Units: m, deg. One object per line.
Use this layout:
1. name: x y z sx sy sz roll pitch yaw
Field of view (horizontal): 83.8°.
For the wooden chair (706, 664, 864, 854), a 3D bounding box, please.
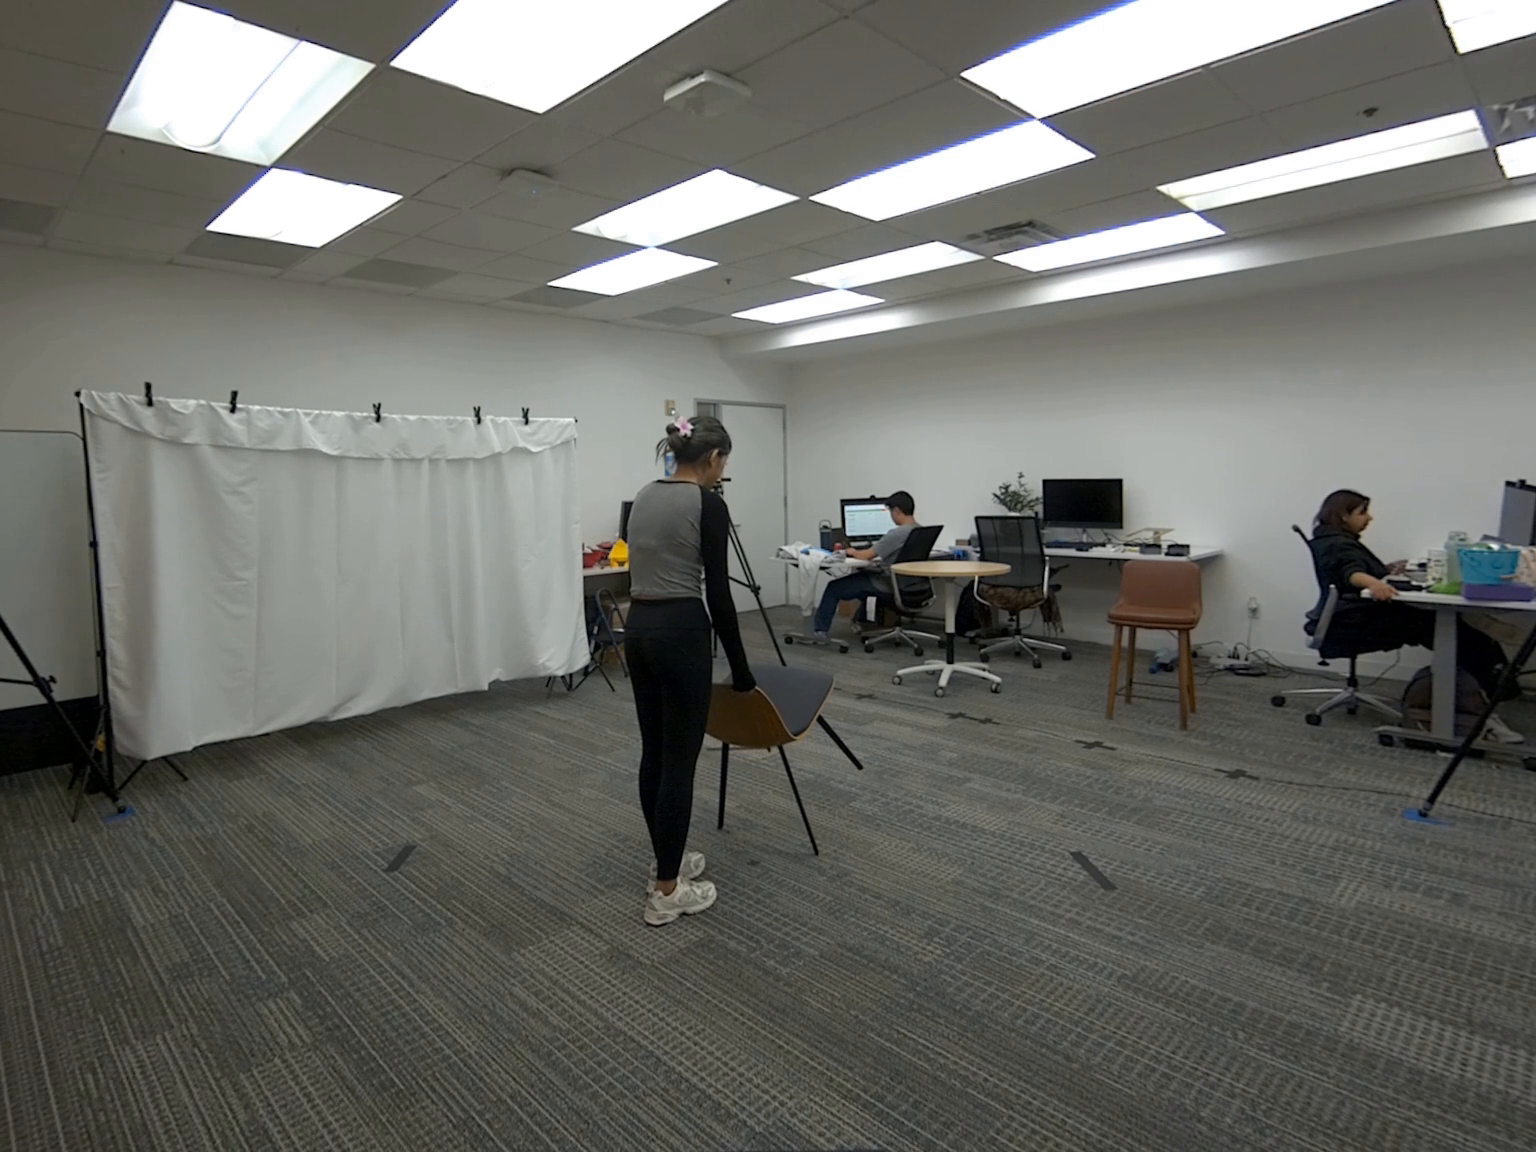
1. wooden chair: -0.009 0.539 3.261 0.492 0.850 0.525 3 38 34
